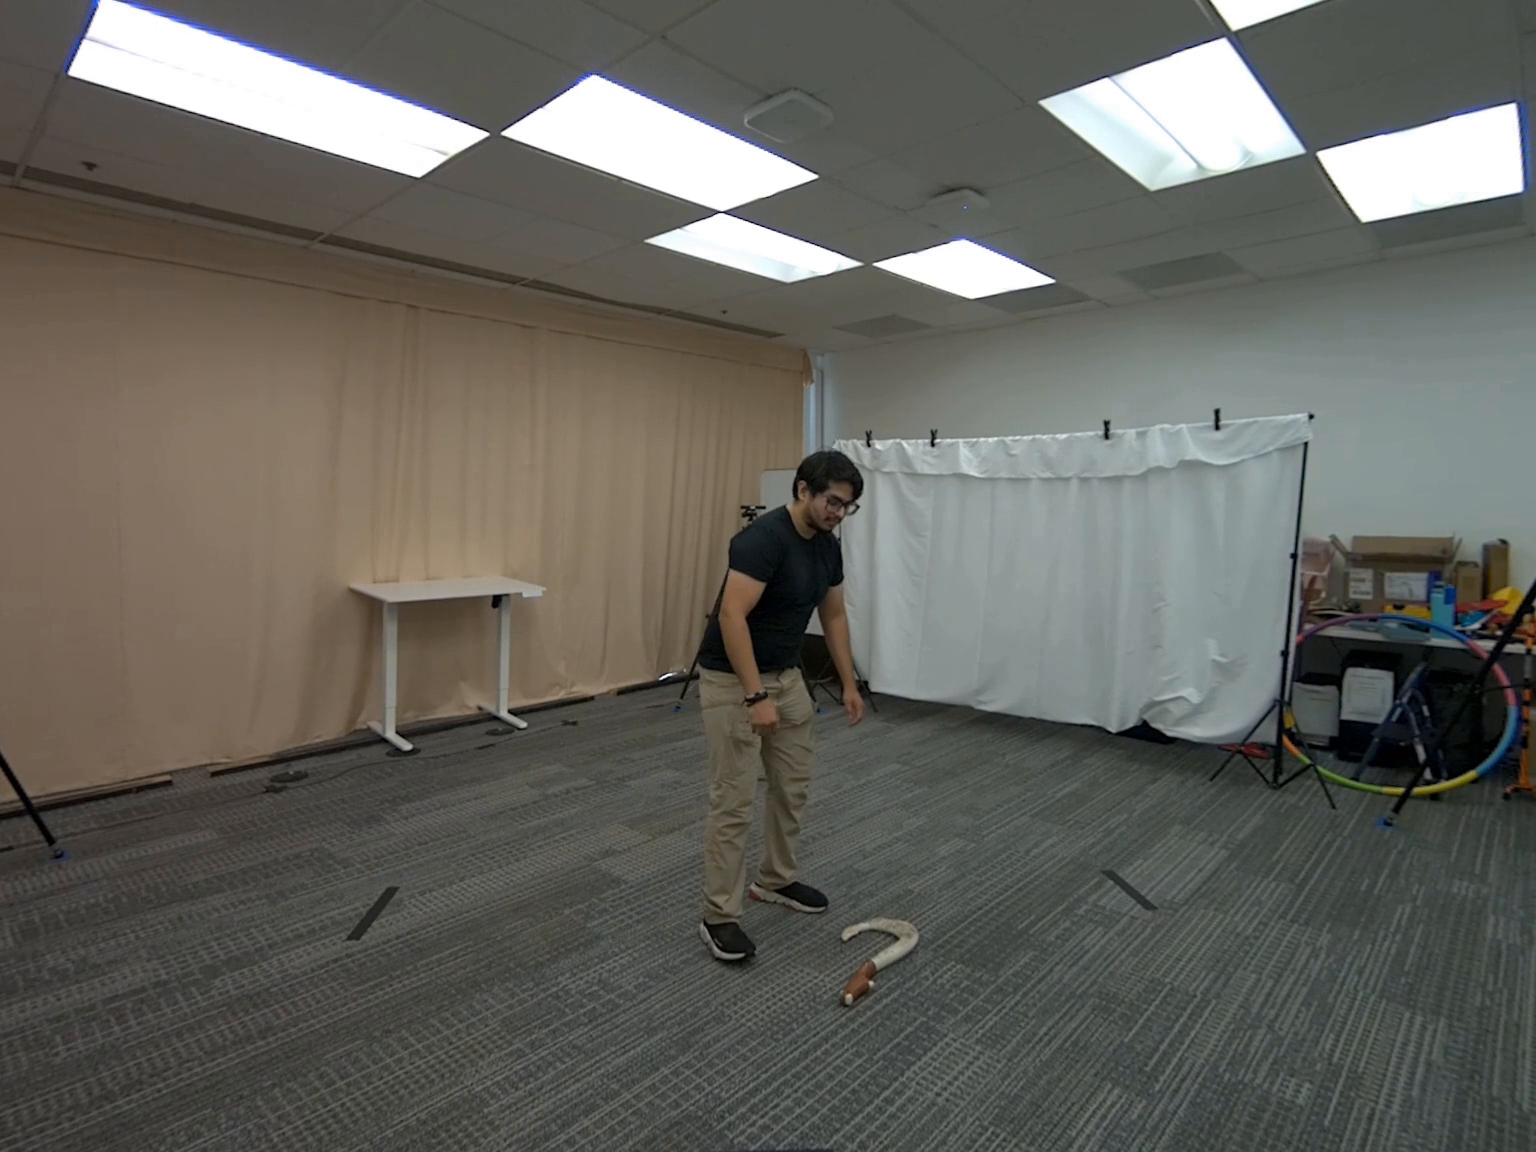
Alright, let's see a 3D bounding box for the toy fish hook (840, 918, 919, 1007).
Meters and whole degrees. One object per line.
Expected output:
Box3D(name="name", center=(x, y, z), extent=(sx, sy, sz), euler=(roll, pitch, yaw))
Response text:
Box3D(name="toy fish hook", center=(0.293, 1.161, 2.563), extent=(0.231, 0.048, 0.493), euler=(-5, 0, 31))
